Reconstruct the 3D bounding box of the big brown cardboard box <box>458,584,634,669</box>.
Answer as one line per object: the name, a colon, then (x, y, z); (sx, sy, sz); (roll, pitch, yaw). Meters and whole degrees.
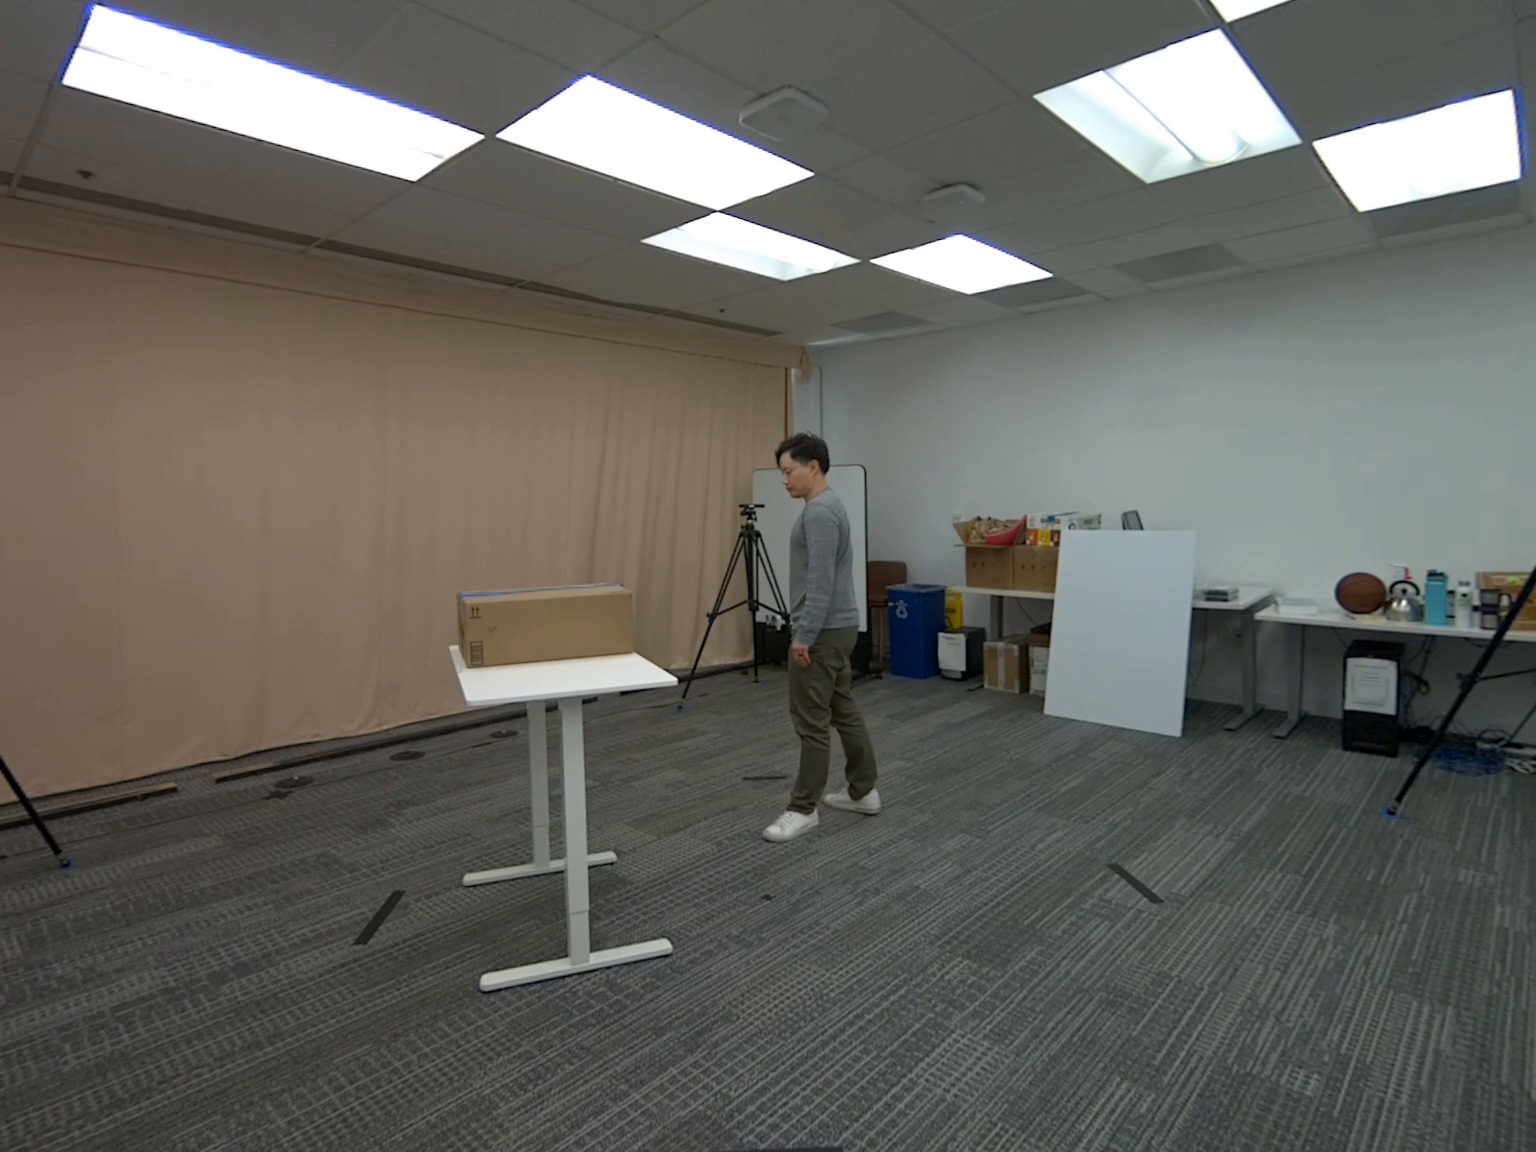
big brown cardboard box: (-0.807, 0.164, 3.028); (0.576, 0.232, 0.428); (-4, 5, -23)
